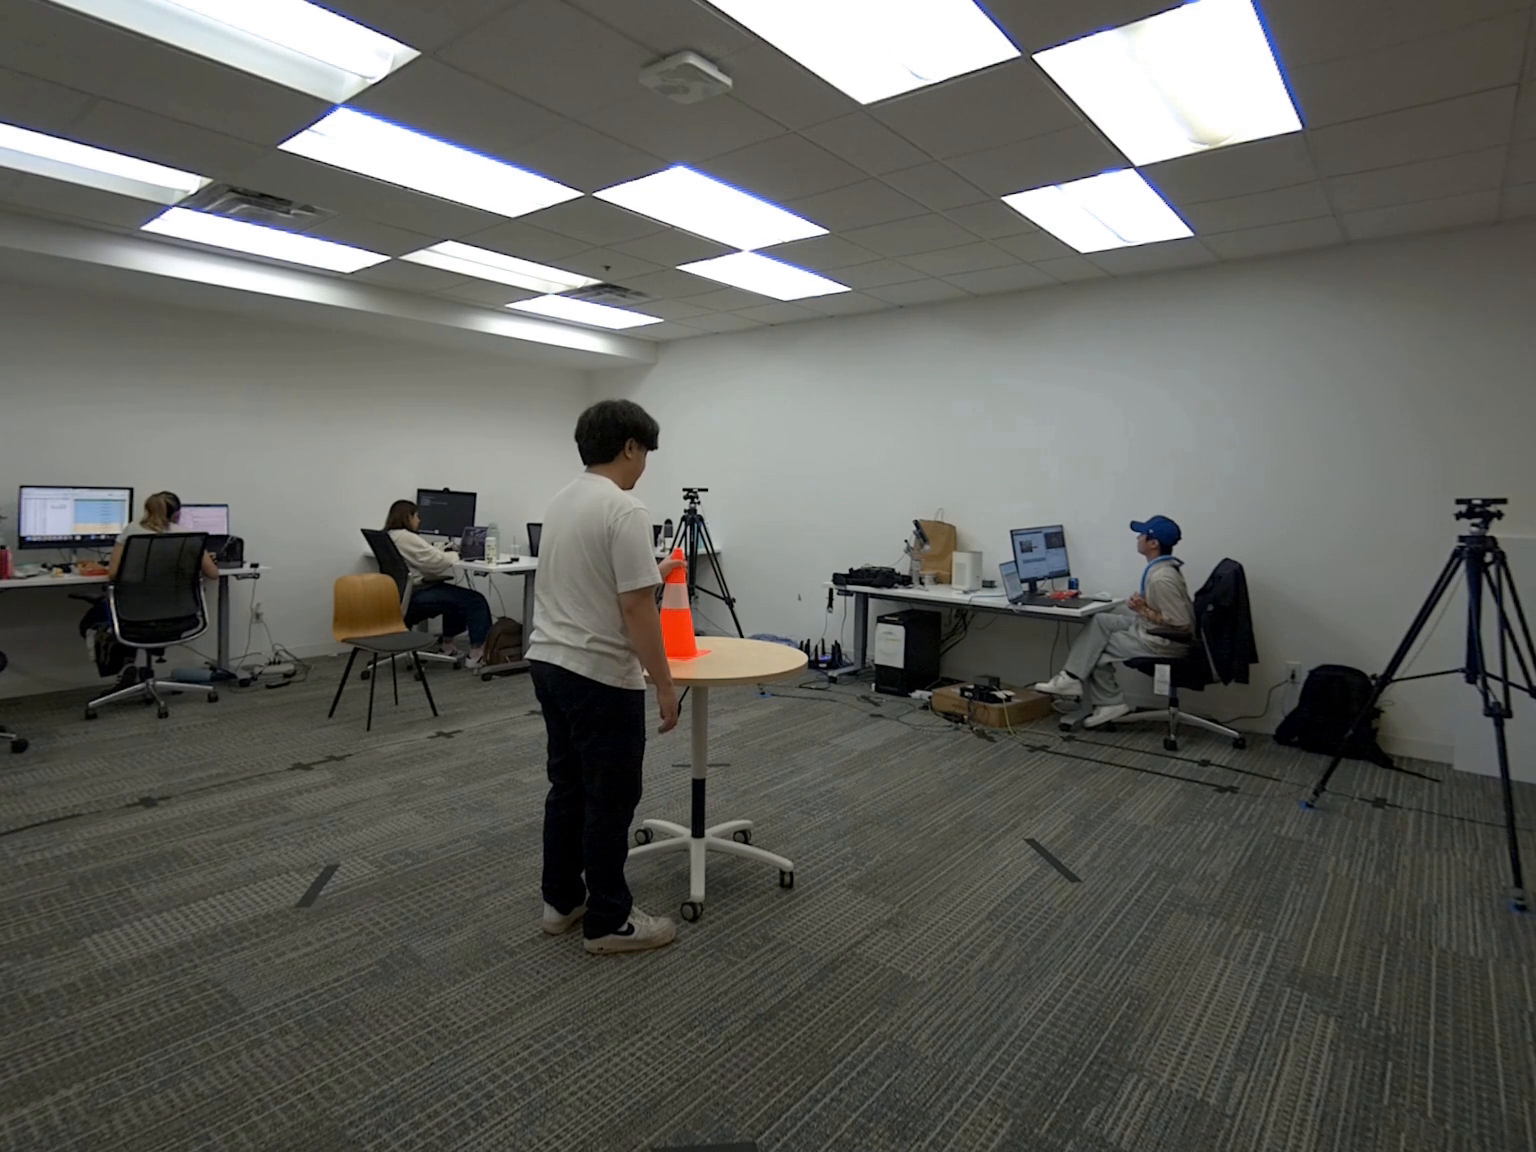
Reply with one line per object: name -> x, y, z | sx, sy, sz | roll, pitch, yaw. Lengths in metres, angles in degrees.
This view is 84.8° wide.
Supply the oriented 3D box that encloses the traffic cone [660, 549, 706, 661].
traffic cone -> -0.339, 0.091, 3.048 | 0.210, 0.382, 0.199 | 3, 5, 23
